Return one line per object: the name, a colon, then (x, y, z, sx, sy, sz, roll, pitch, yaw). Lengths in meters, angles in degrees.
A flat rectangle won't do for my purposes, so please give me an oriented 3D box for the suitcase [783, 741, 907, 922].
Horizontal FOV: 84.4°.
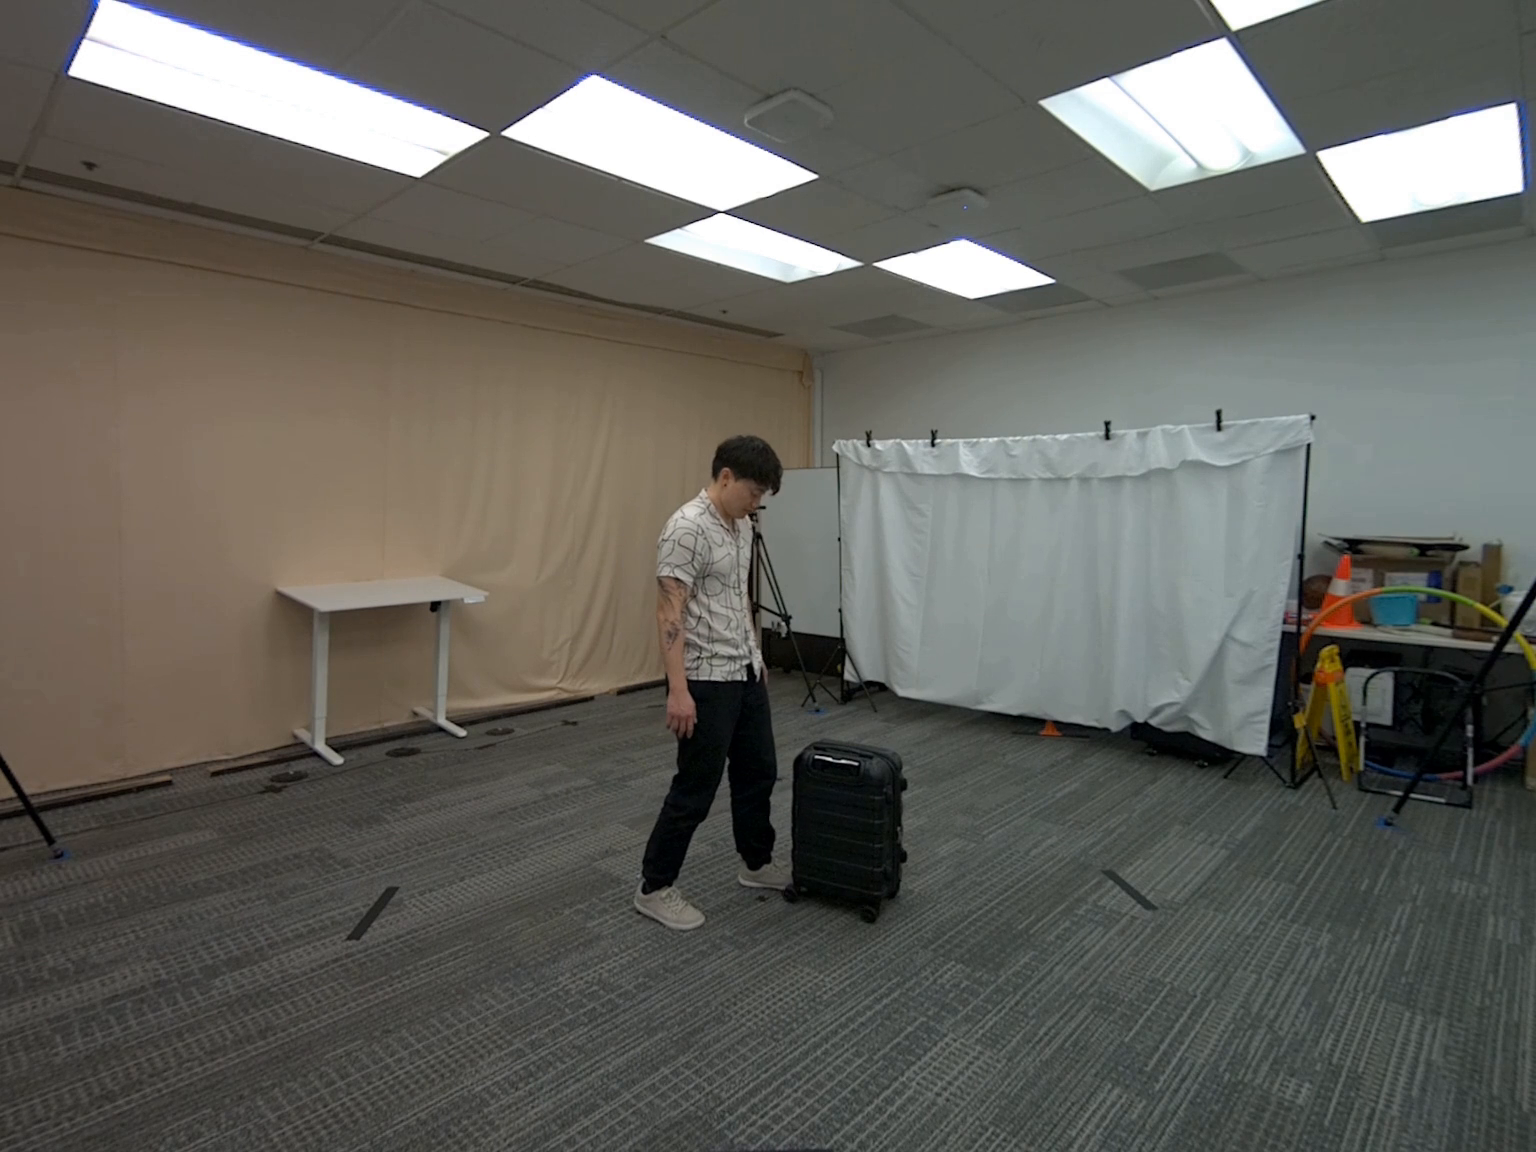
suitcase: (0.278, 0.865, 2.960, 0.386, 0.548, 0.242, 3, 4, 28)
